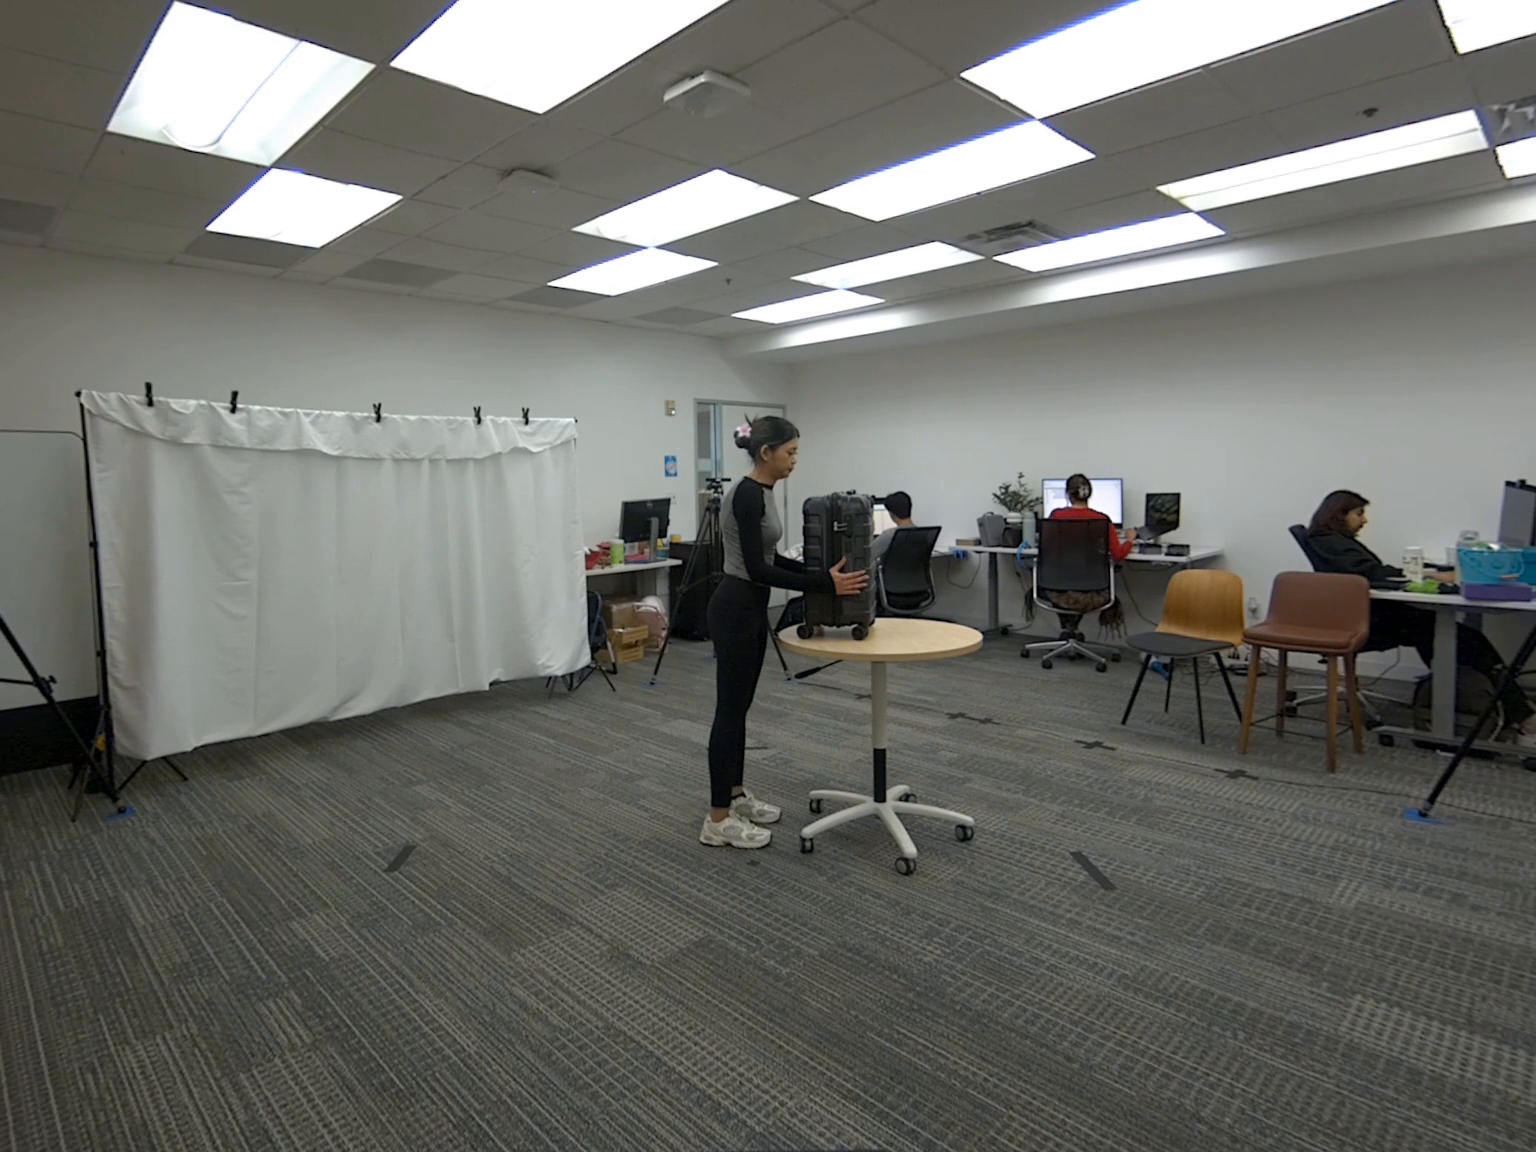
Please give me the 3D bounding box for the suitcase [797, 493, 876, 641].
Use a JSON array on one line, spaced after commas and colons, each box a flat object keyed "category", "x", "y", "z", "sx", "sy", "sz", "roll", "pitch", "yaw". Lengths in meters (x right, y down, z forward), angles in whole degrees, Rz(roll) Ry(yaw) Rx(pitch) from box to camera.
[{"category": "suitcase", "x": 0.272, "y": -0.055, "z": 3.296, "sx": 0.251, "sy": 0.547, "sz": 0.372, "roll": 1, "pitch": 5, "yaw": 12}]
